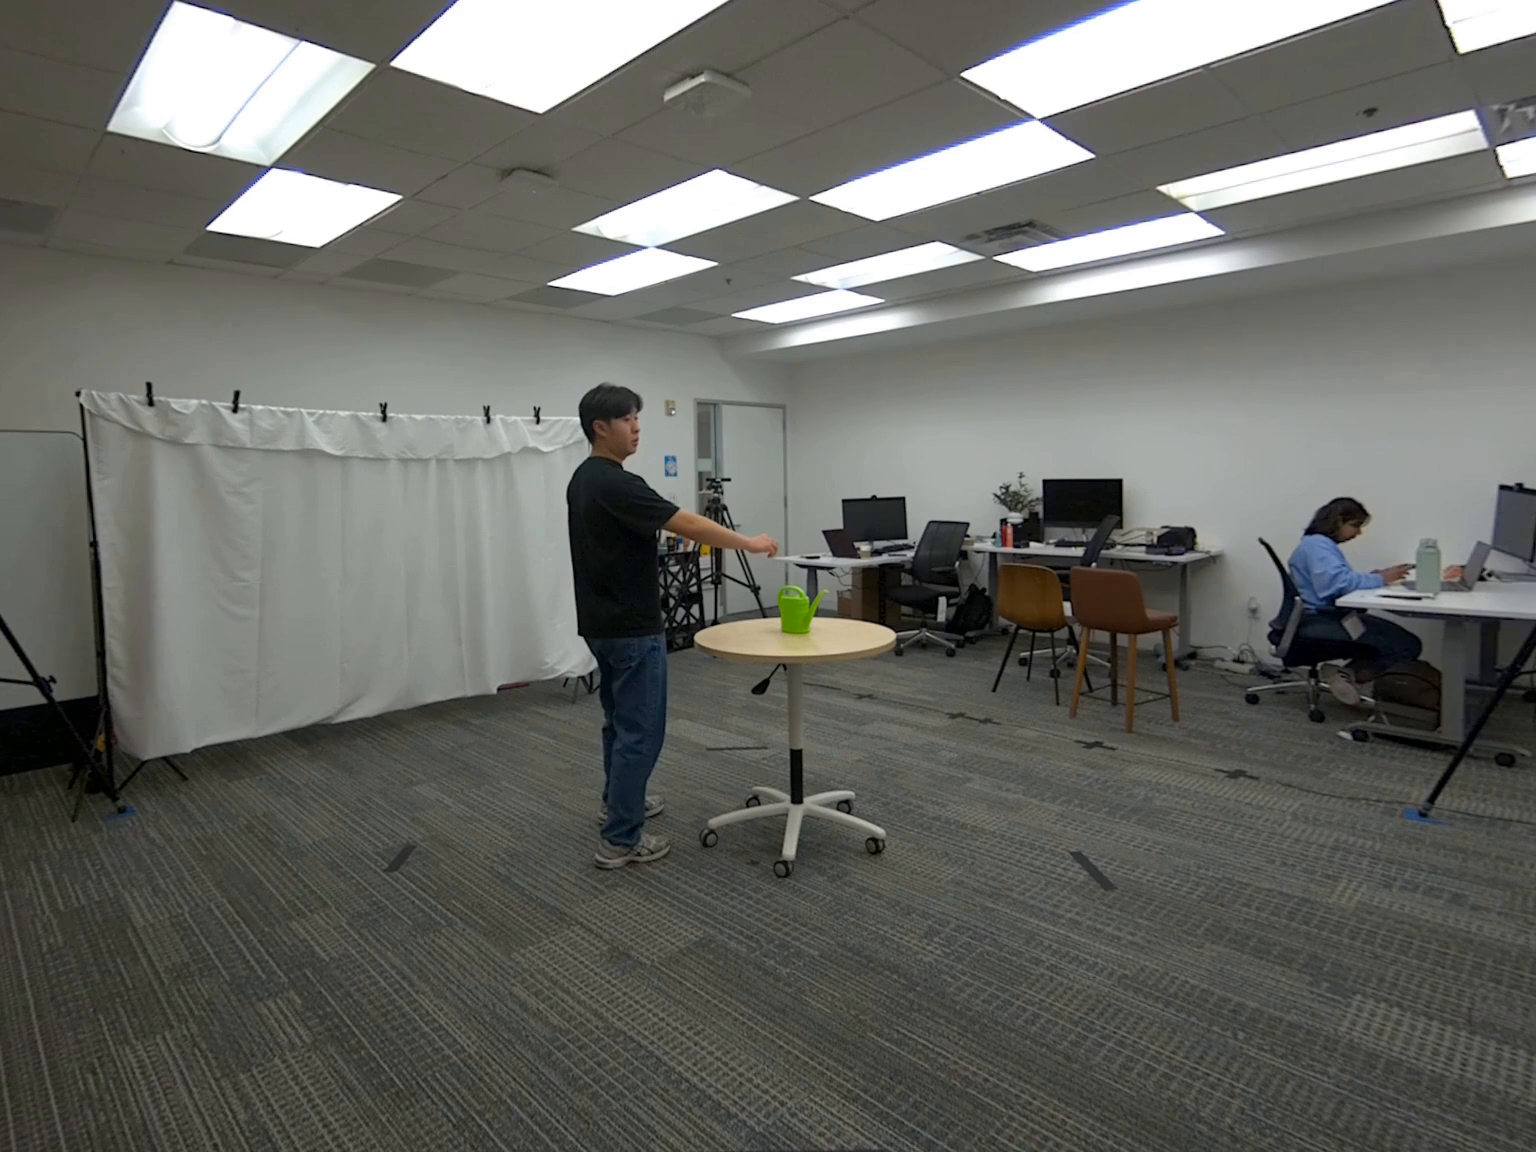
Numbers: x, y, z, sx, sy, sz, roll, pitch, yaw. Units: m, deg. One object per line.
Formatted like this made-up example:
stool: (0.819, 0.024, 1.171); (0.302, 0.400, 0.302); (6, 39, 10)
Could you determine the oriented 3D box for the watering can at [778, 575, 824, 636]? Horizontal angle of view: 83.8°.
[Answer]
watering can: (0.124, 0.131, 3.284); (0.096, 0.176, 0.285); (-3, 5, -25)
